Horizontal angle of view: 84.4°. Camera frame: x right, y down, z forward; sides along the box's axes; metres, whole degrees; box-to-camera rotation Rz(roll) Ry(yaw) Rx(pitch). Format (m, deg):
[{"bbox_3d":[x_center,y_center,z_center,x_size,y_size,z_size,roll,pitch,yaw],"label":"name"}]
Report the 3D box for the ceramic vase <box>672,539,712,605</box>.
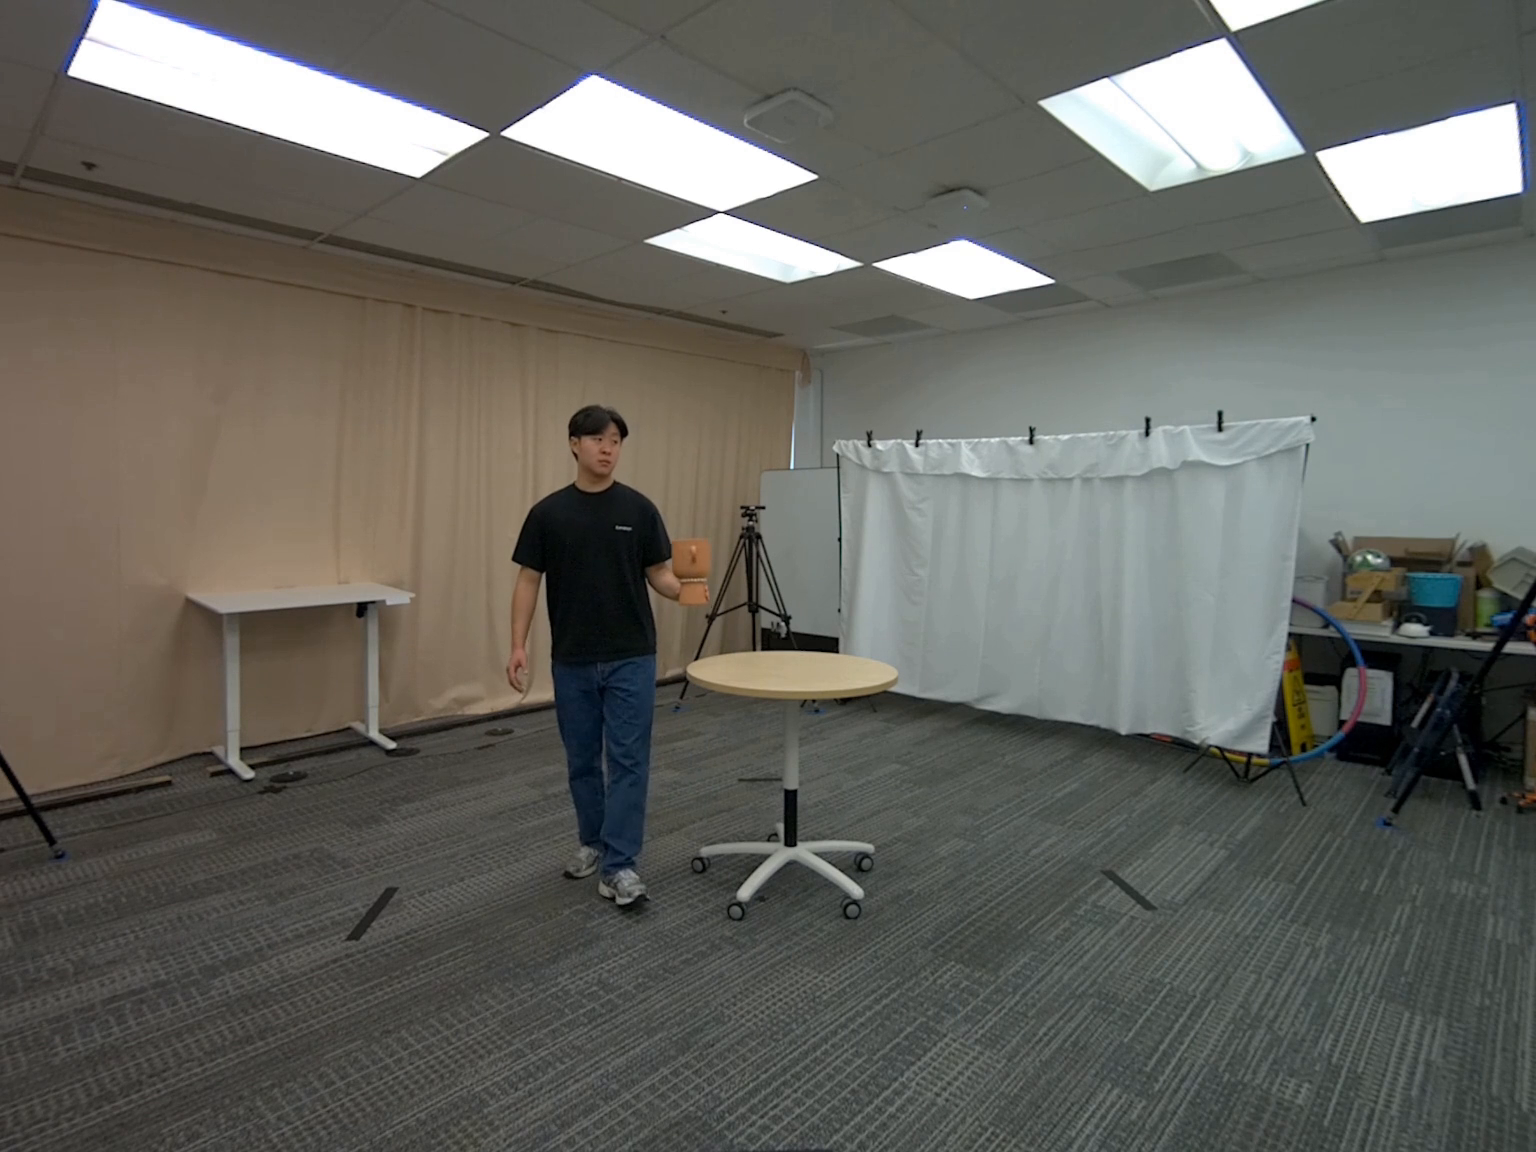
[{"bbox_3d":[-0.260,-0.011,2.877,0.138,0.220,0.154,-2,-1,29],"label":"ceramic vase"}]
